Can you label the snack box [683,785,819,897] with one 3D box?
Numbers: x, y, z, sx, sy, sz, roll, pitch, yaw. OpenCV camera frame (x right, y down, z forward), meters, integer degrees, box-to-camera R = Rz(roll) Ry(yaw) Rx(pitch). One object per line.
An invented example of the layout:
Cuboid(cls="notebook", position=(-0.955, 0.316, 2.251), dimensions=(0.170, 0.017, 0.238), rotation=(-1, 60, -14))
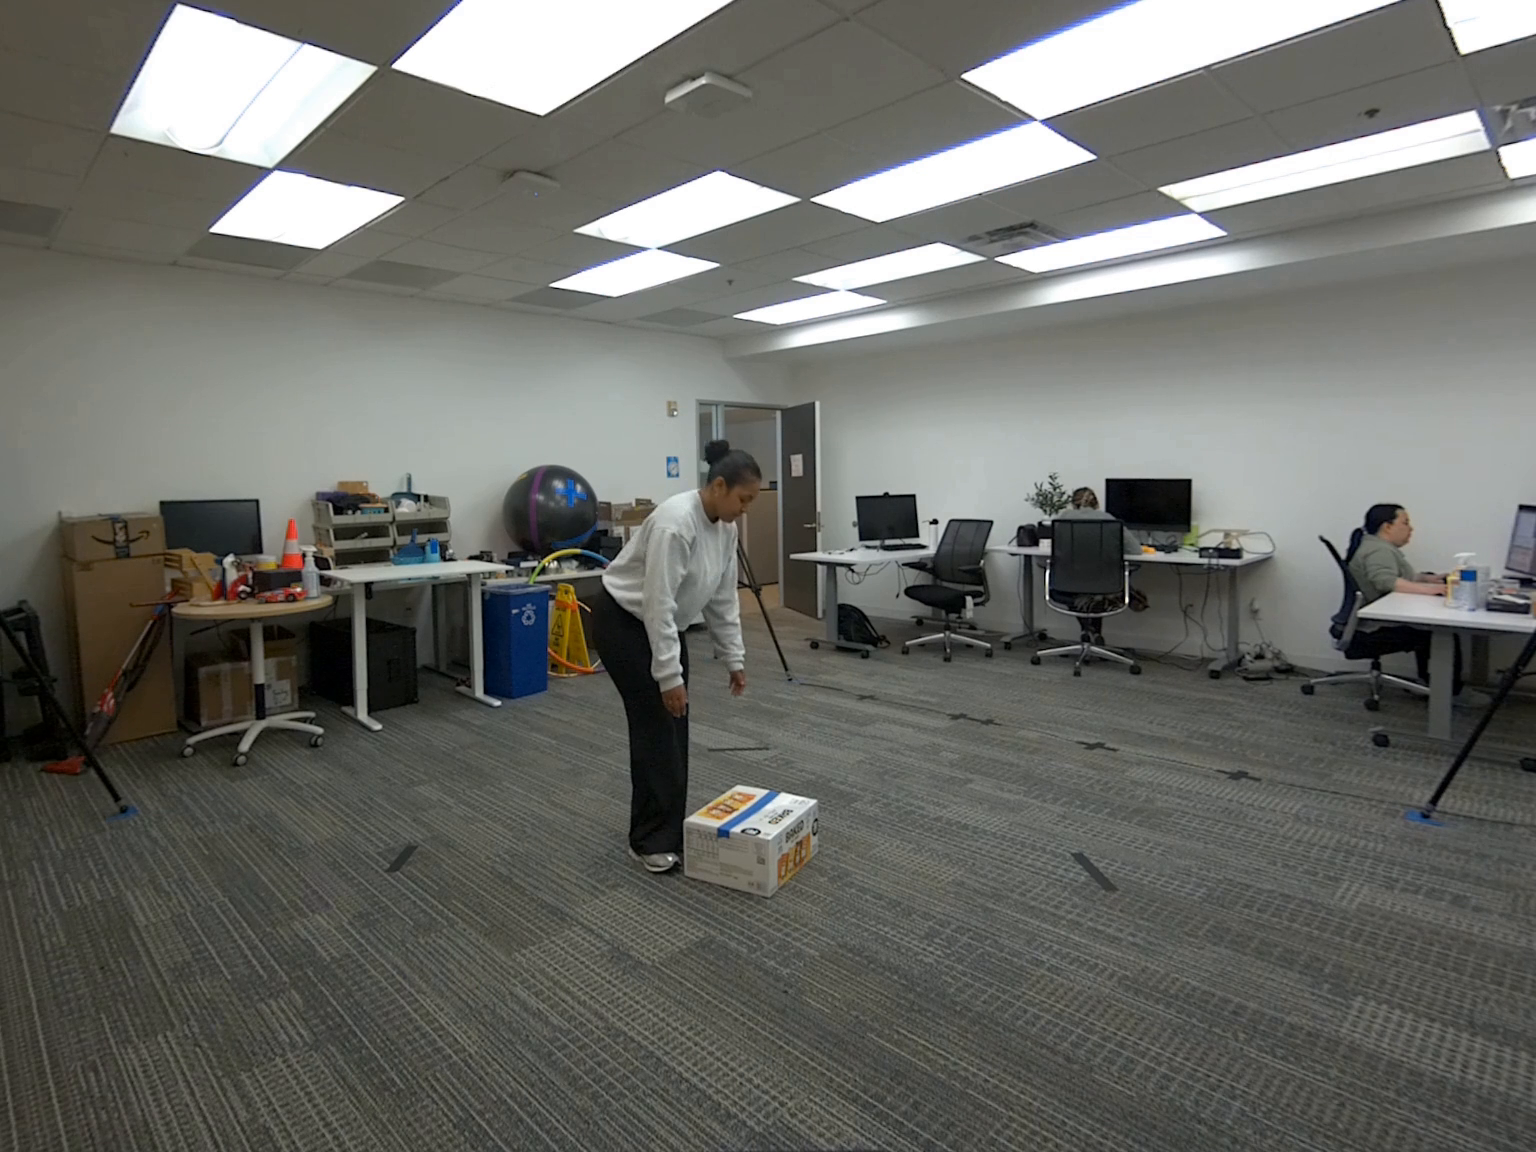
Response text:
Cuboid(cls="snack box", position=(-0.054, 0.945, 3.089), dimensions=(0.349, 0.205, 0.396), rotation=(2, 6, 29))
